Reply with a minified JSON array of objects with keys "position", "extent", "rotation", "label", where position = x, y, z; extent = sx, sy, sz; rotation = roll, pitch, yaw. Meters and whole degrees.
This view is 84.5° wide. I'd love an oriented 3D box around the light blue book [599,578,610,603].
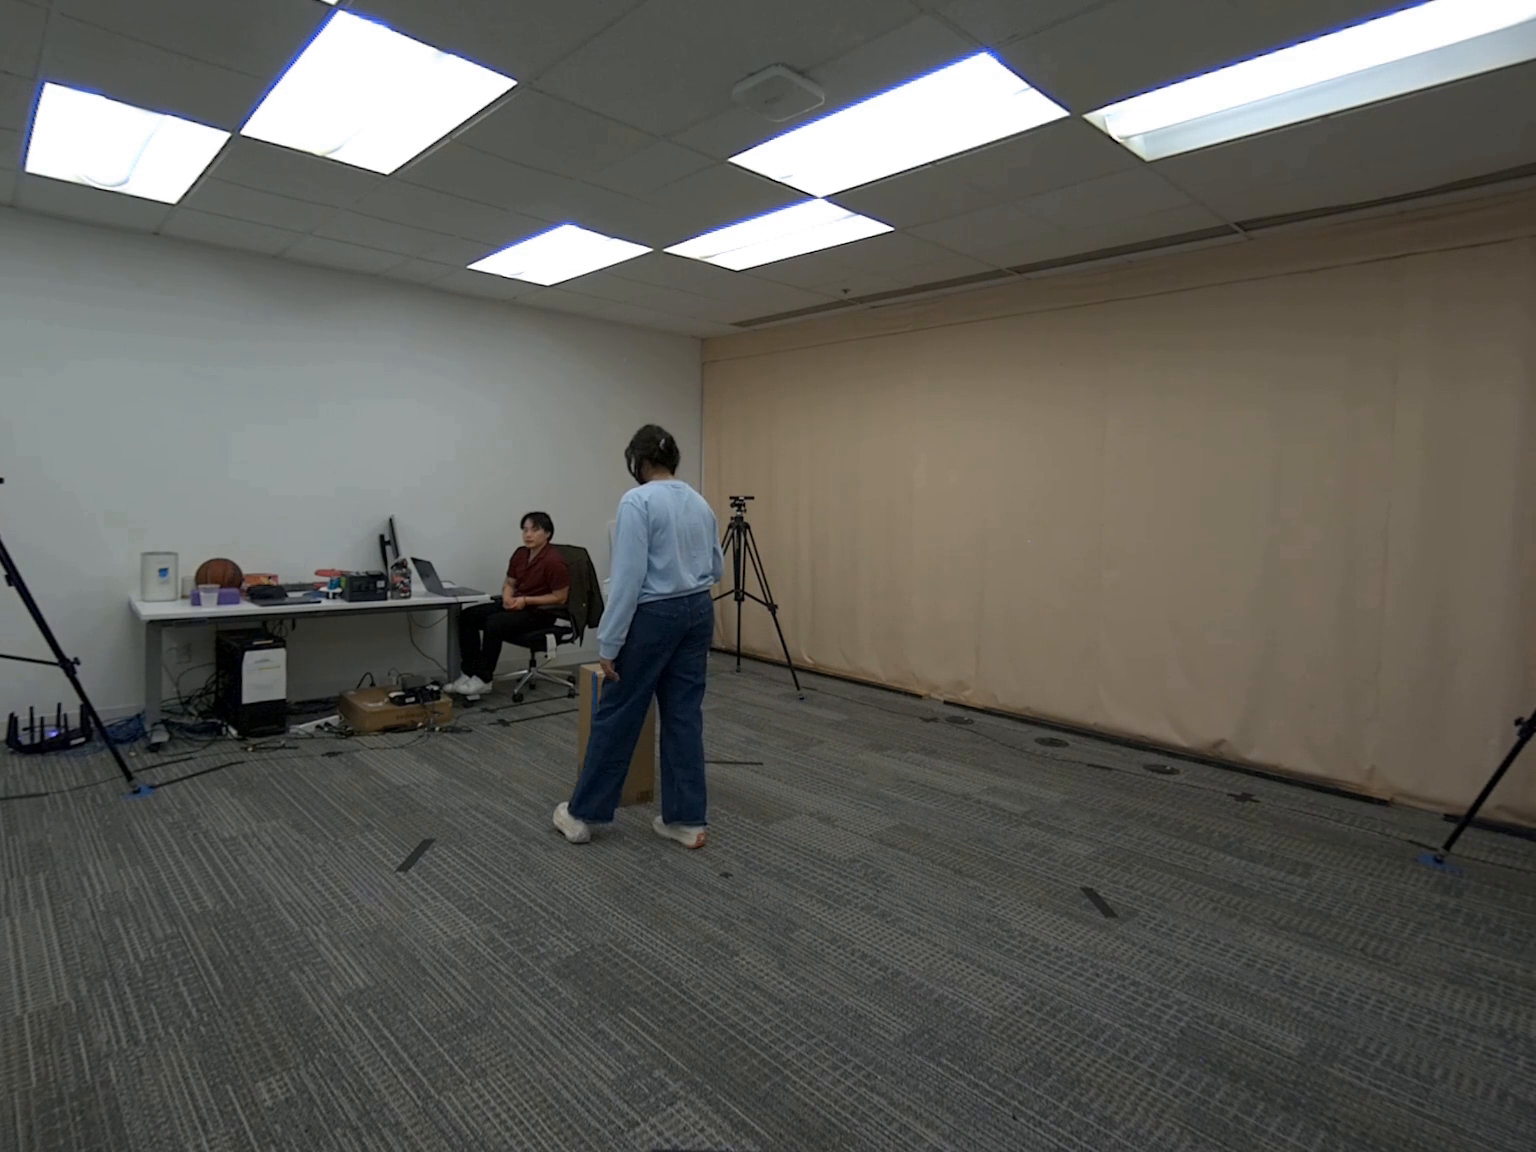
[{"position":[-0.619,0.033,3.664],"extent":[0.193,0.059,0.260],"rotation":[-2,8,11],"label":"light blue book"}]
